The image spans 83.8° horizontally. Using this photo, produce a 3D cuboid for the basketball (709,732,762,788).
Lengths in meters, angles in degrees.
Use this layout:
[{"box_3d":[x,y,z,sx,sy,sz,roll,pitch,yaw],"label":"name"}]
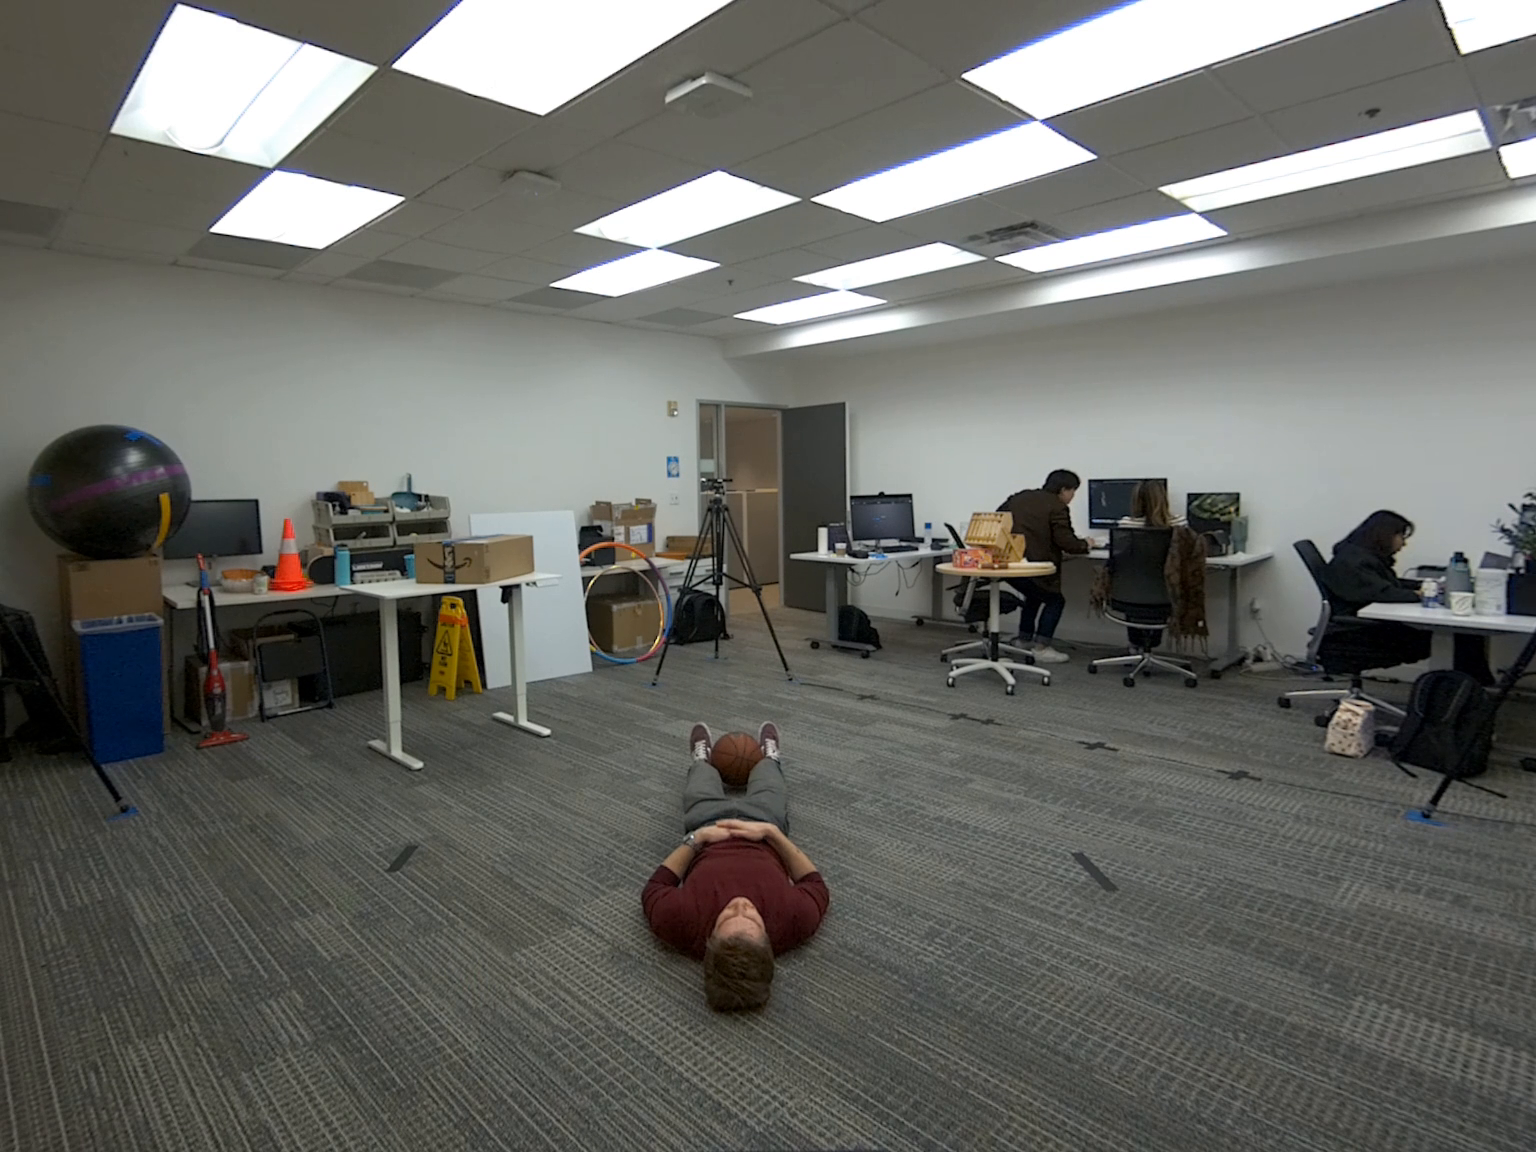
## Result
[{"box_3d":[-0.133,0.825,3.865,0.236,0.236,0.236,0,1,-2],"label":"basketball"}]
